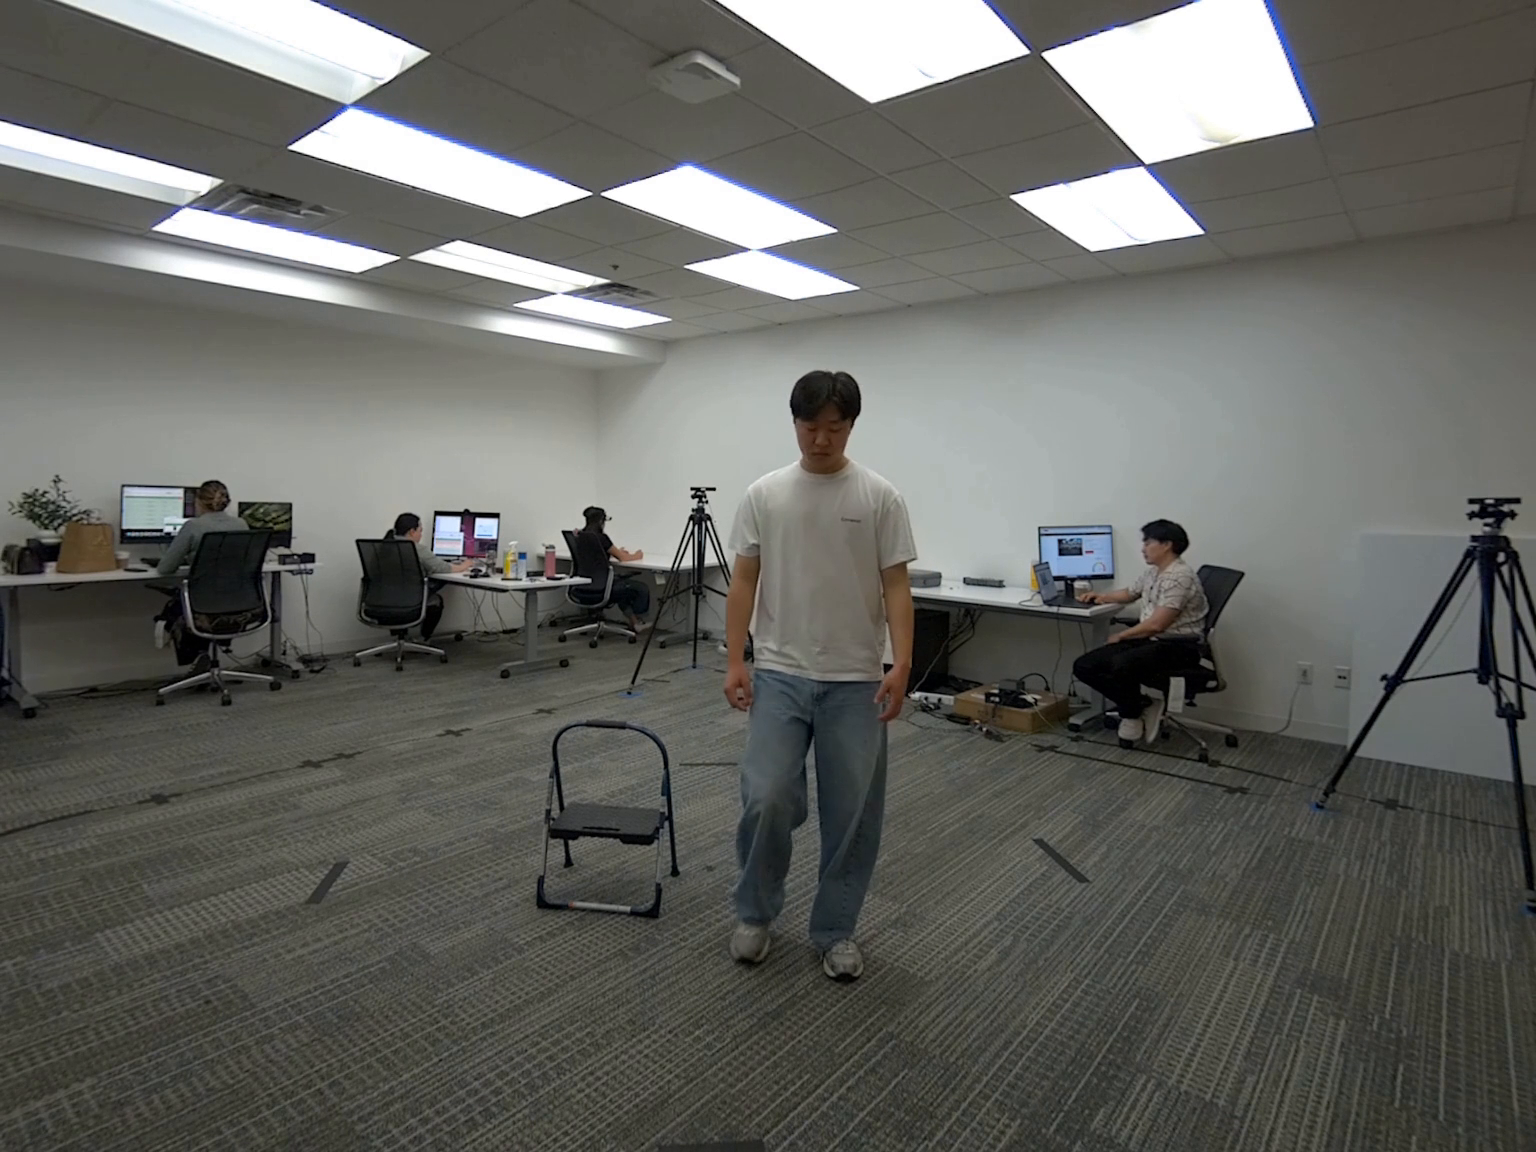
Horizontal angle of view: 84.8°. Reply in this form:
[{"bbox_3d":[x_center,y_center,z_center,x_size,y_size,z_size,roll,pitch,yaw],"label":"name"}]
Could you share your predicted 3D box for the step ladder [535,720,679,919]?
[{"bbox_3d":[-0.551,0.776,2.910,0.434,0.604,0.348,1,3,6],"label":"step ladder"}]
